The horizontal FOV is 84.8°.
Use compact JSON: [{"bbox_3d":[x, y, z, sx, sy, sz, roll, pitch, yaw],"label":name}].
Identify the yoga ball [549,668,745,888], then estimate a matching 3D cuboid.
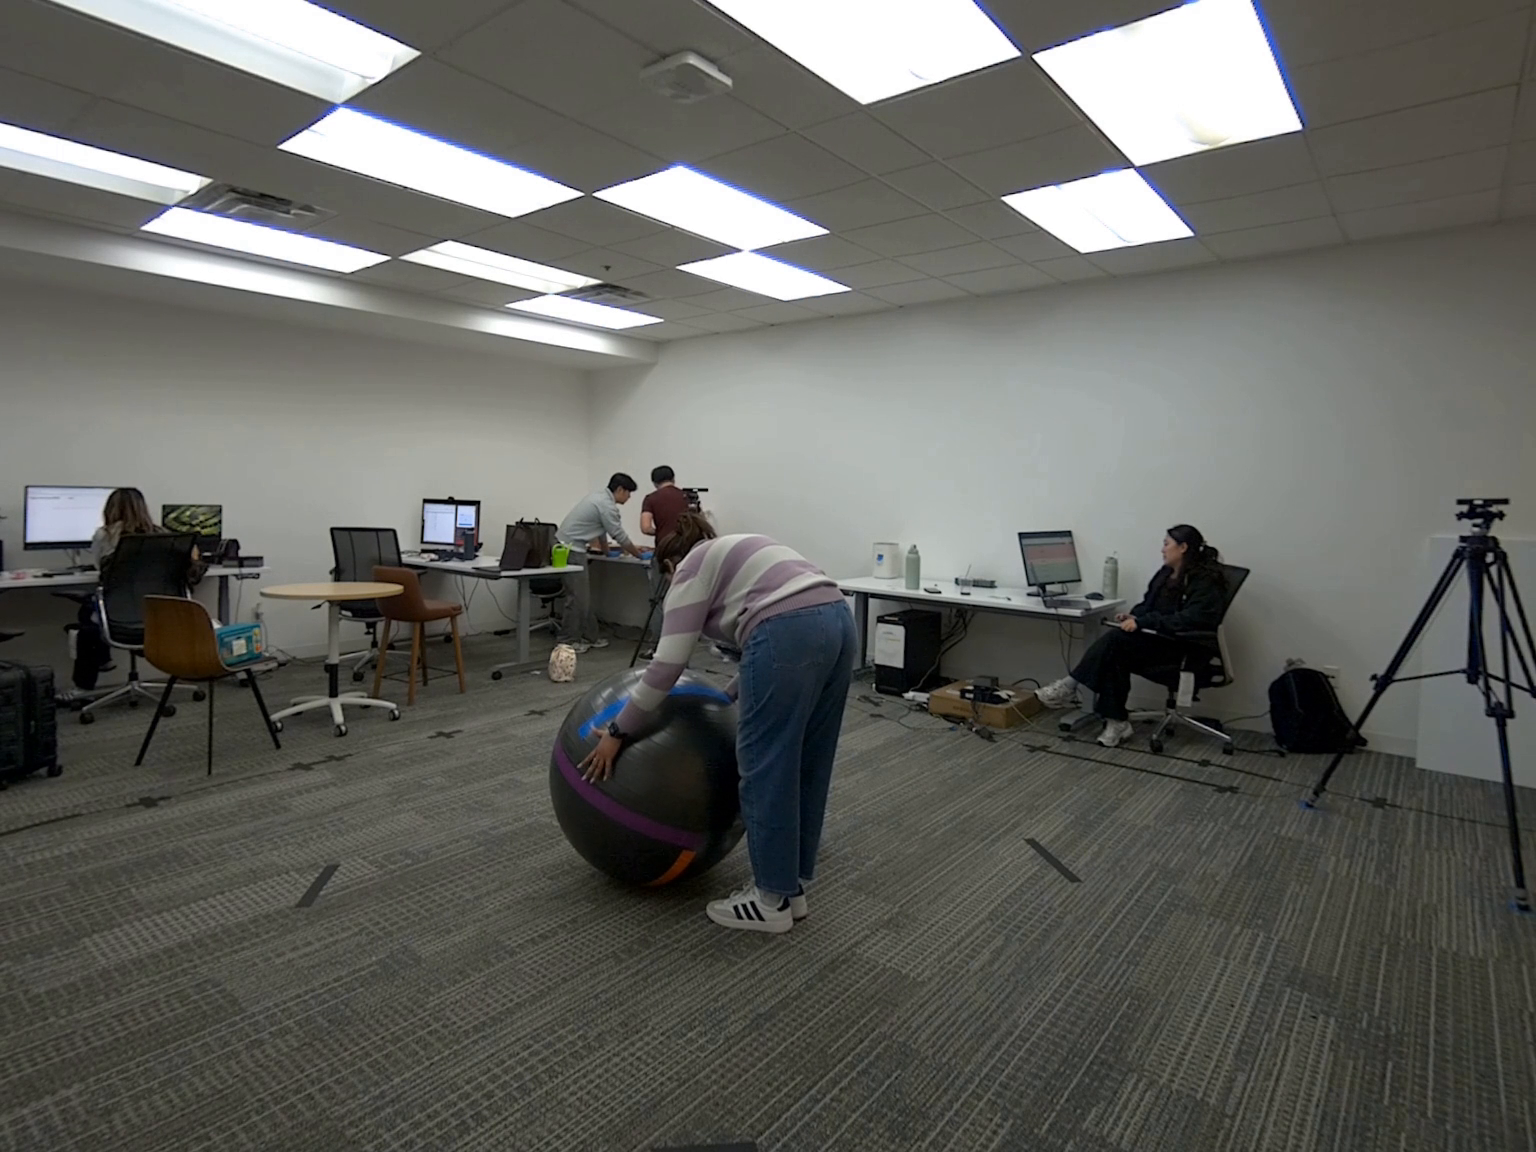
[{"bbox_3d":[-0.402,0.712,3.062,0.757,0.755,0.762,1,4,-2],"label":"yoga ball"}]
